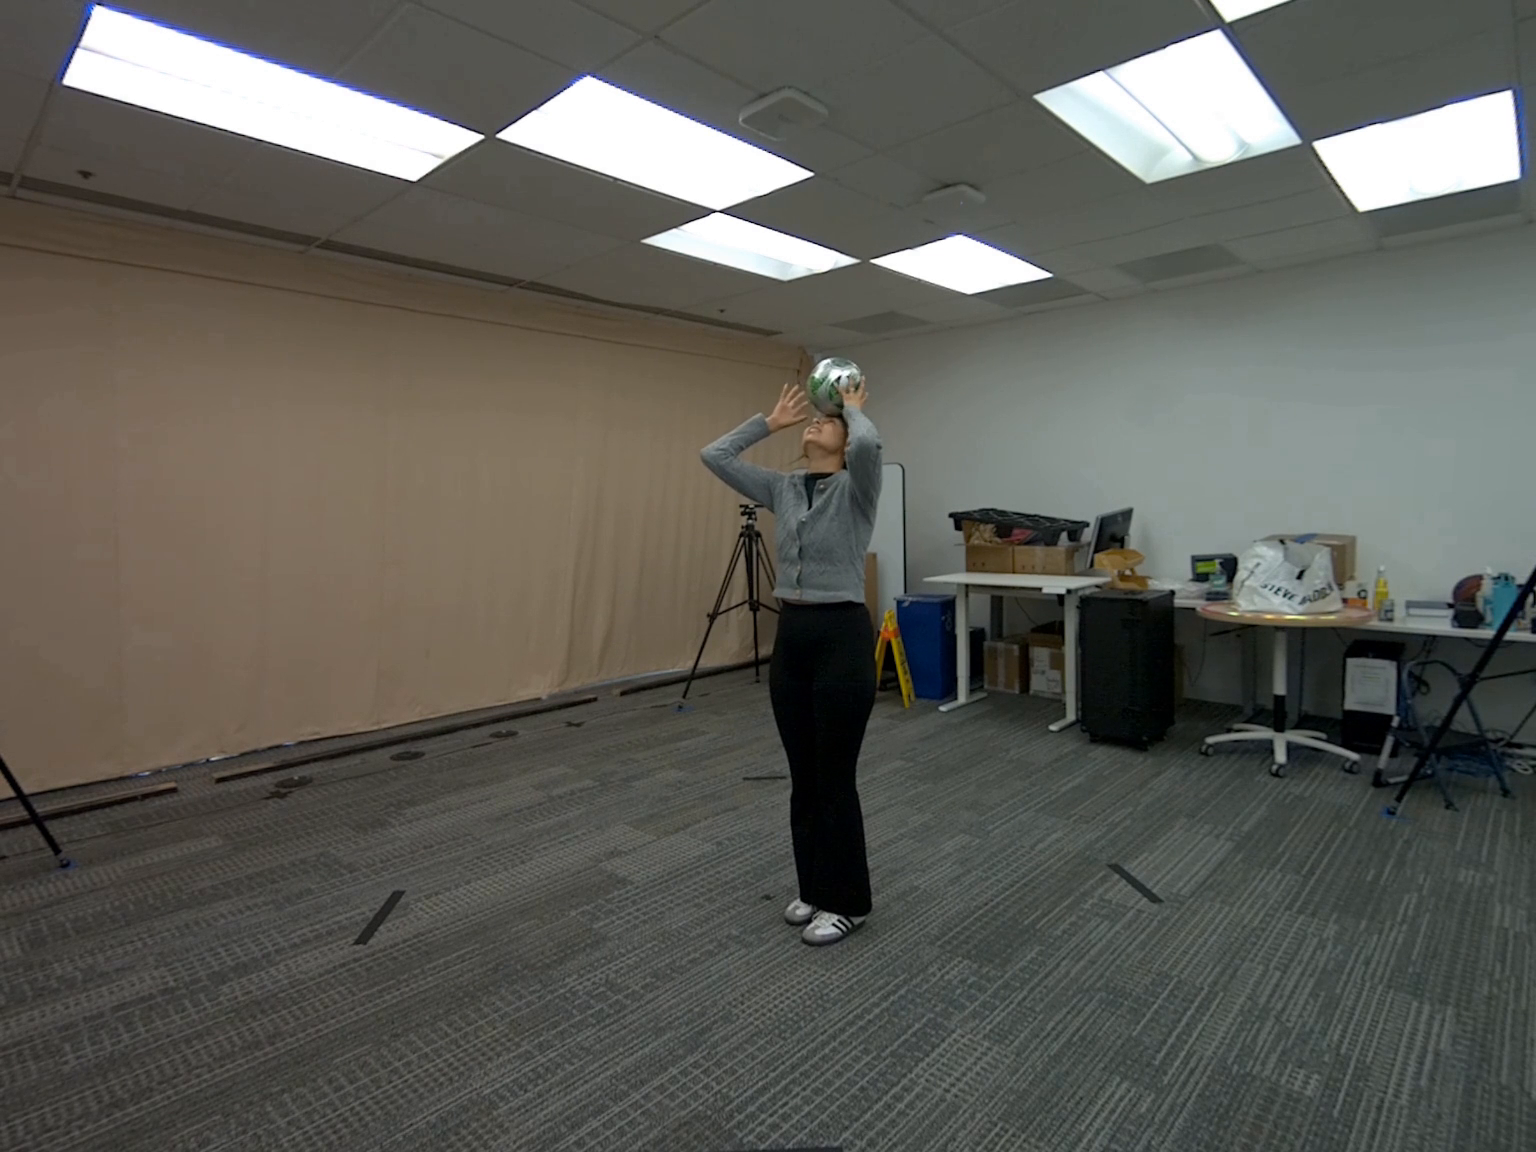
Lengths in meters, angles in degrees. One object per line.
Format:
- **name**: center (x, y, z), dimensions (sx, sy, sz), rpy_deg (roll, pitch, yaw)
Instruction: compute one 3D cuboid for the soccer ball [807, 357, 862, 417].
- **soccer ball**: center (0.222, -0.620, 2.774), dimensions (0.187, 0.187, 0.188), rpy_deg (-1, 4, -2)
